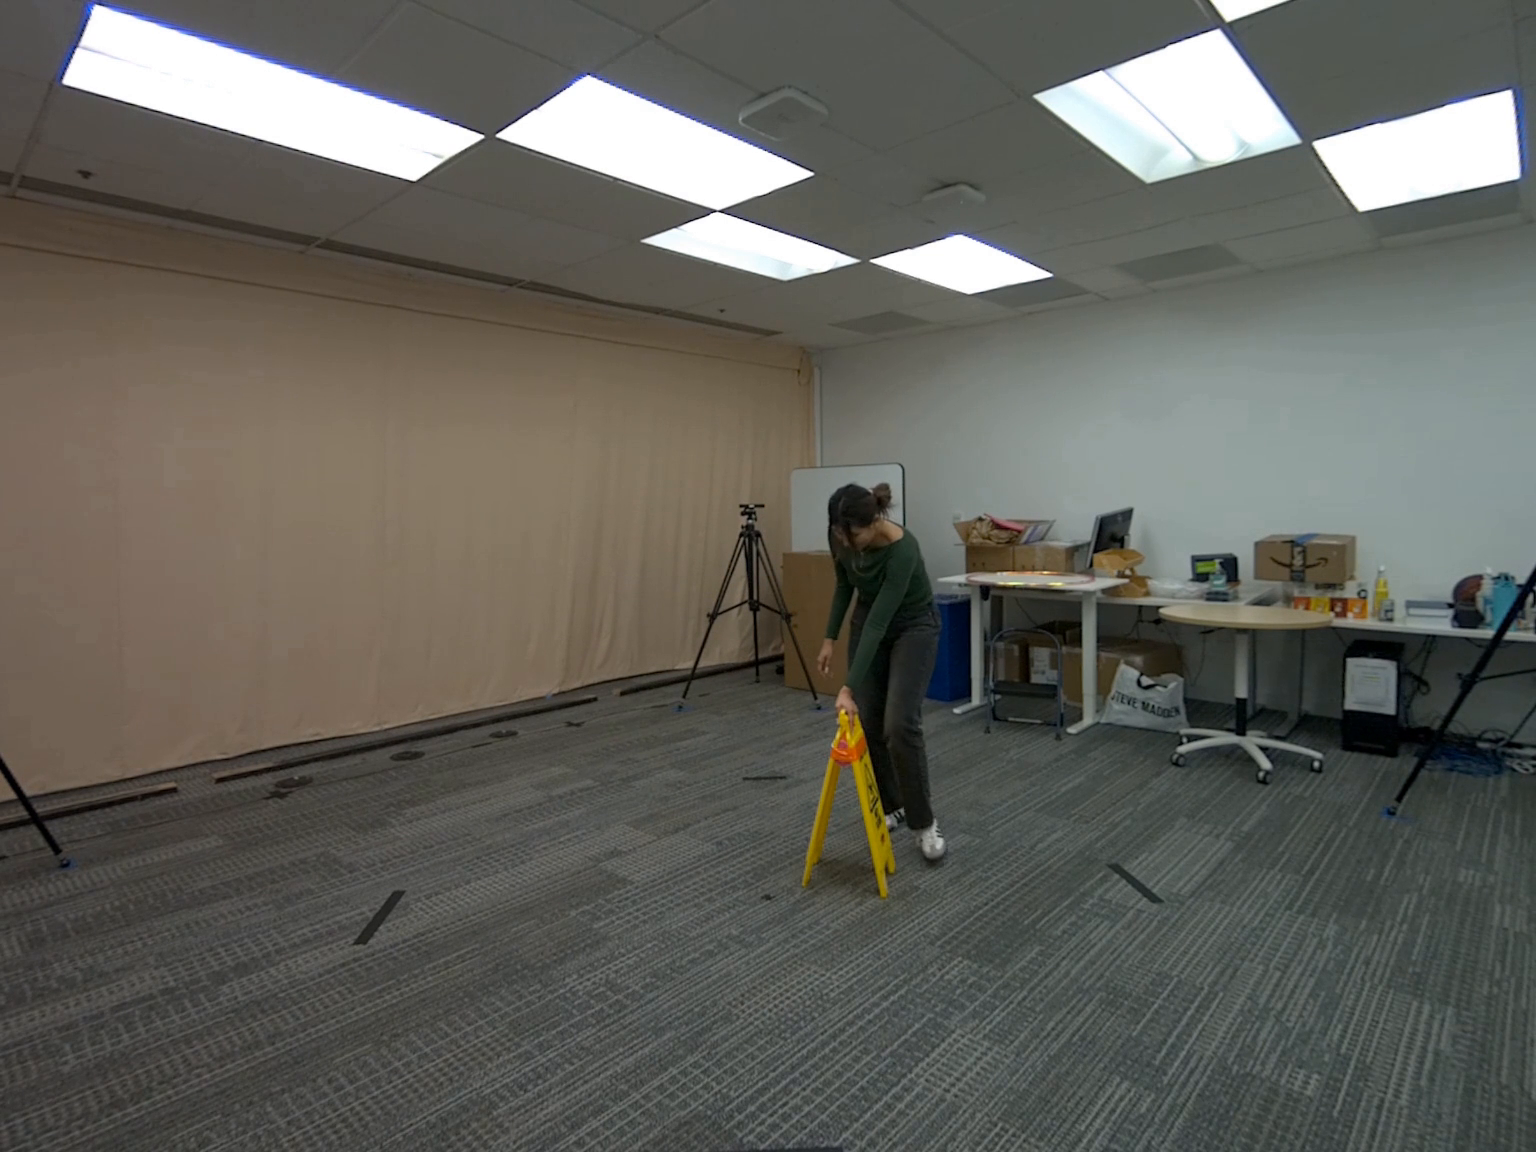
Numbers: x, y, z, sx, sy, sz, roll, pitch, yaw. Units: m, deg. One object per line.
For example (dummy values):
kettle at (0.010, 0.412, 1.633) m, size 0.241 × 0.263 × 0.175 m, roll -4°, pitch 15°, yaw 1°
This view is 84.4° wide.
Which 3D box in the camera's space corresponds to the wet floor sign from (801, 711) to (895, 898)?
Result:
wet floor sign at (0.297, 0.795, 3.115) m, size 0.295 × 0.644 × 0.278 m, roll 0°, pitch 4°, yaw 17°
